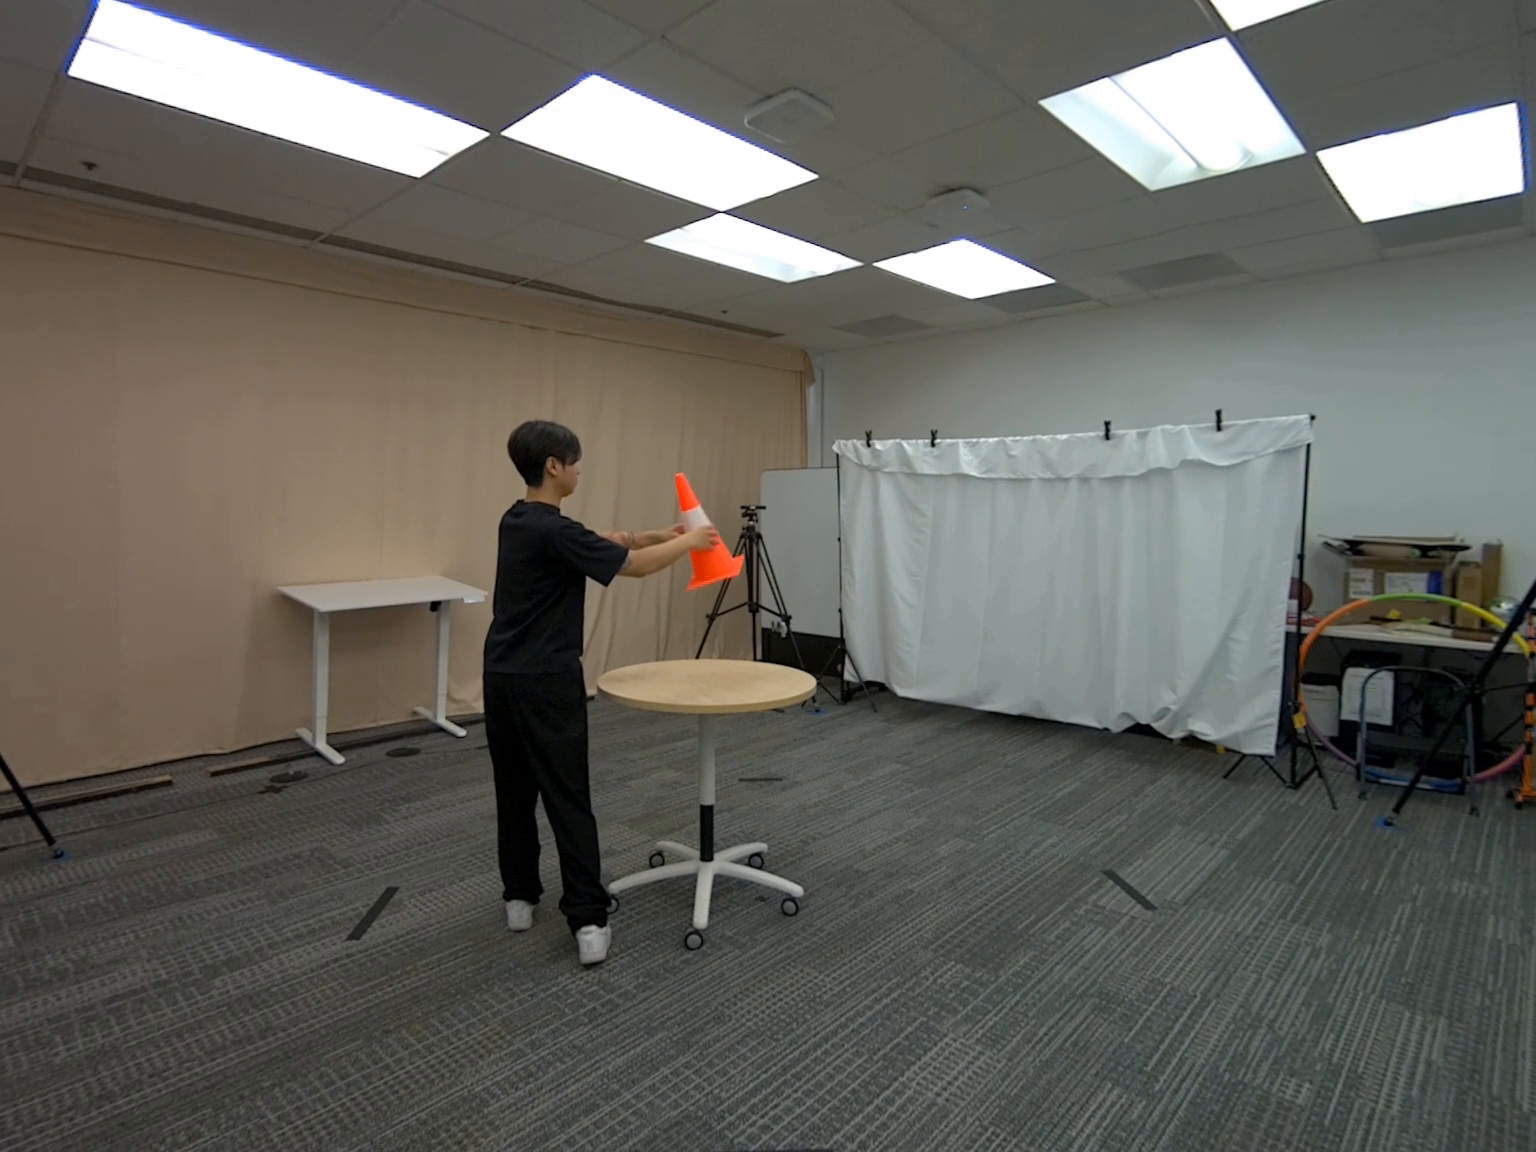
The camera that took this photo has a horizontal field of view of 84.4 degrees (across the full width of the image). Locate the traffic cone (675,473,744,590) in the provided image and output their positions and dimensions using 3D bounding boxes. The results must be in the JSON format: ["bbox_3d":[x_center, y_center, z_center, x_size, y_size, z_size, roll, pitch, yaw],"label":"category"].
[{"bbox_3d":[-0.253,-0.179,2.979,0.207,0.379,0.203,-12,15,21],"label":"traffic cone"}]
